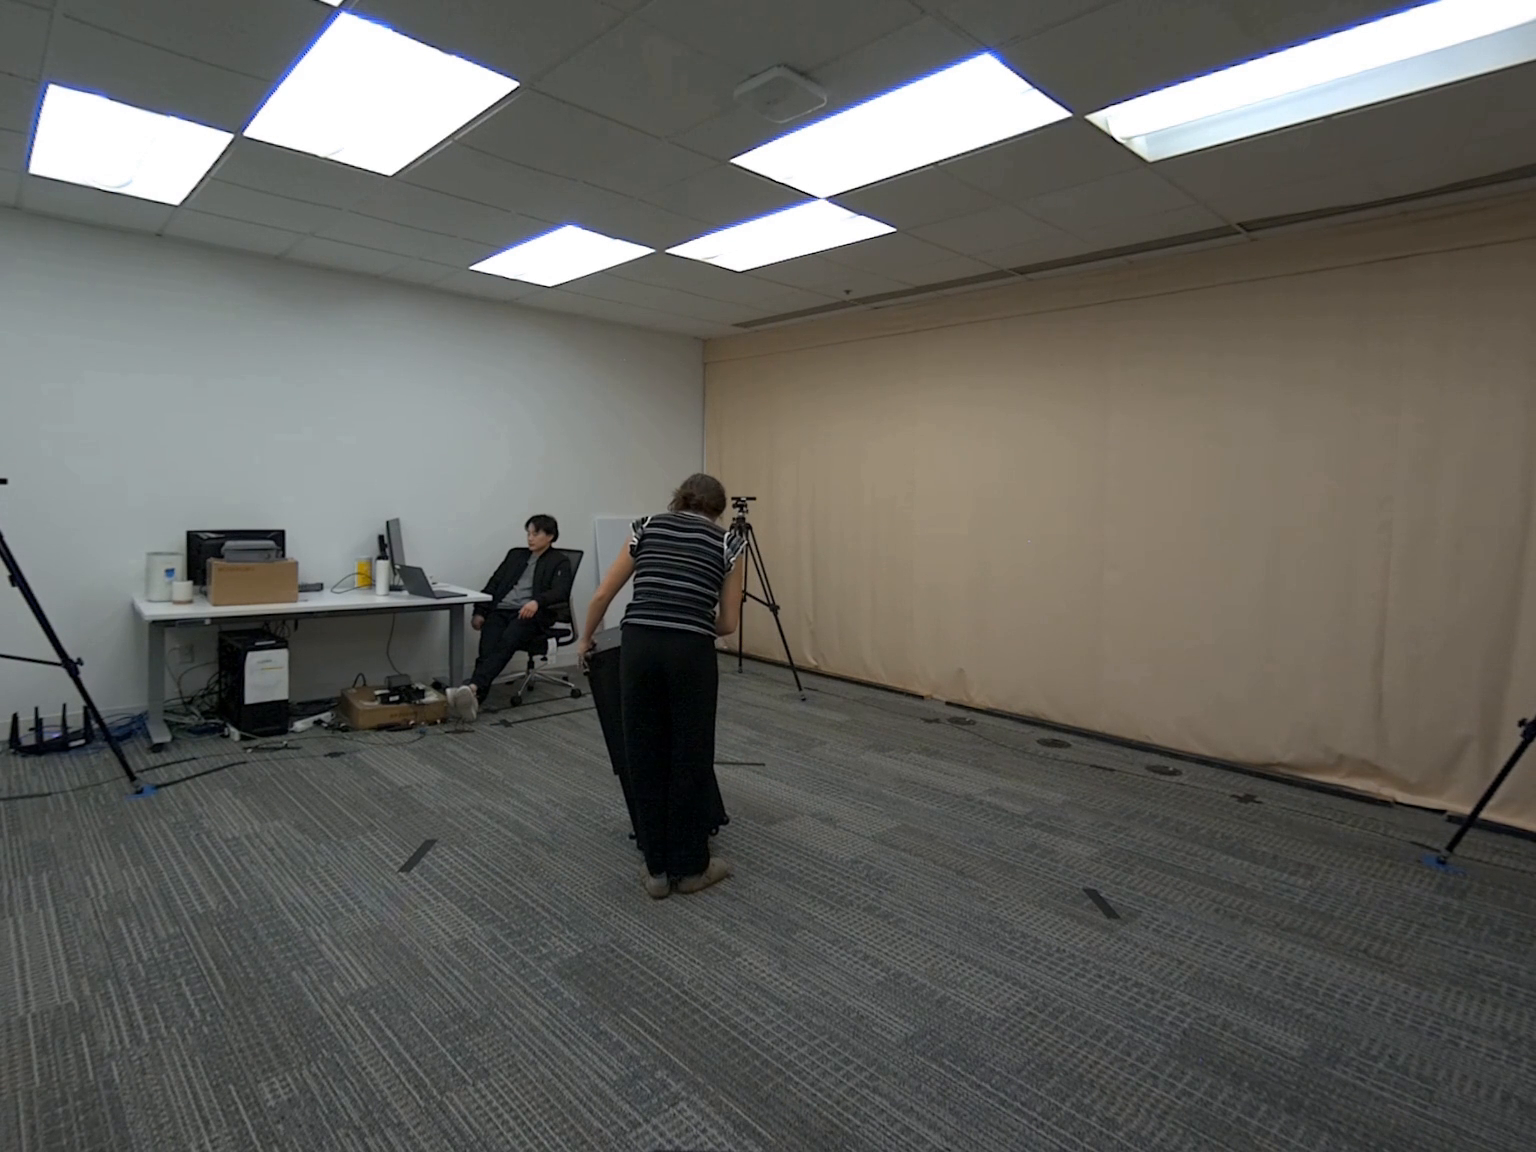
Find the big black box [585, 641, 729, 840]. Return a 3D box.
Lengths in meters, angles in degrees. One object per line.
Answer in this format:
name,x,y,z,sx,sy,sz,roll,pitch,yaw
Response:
big black box,-0.474,0.636,3.412,0.395,0.857,0.526,-15,6,-7
